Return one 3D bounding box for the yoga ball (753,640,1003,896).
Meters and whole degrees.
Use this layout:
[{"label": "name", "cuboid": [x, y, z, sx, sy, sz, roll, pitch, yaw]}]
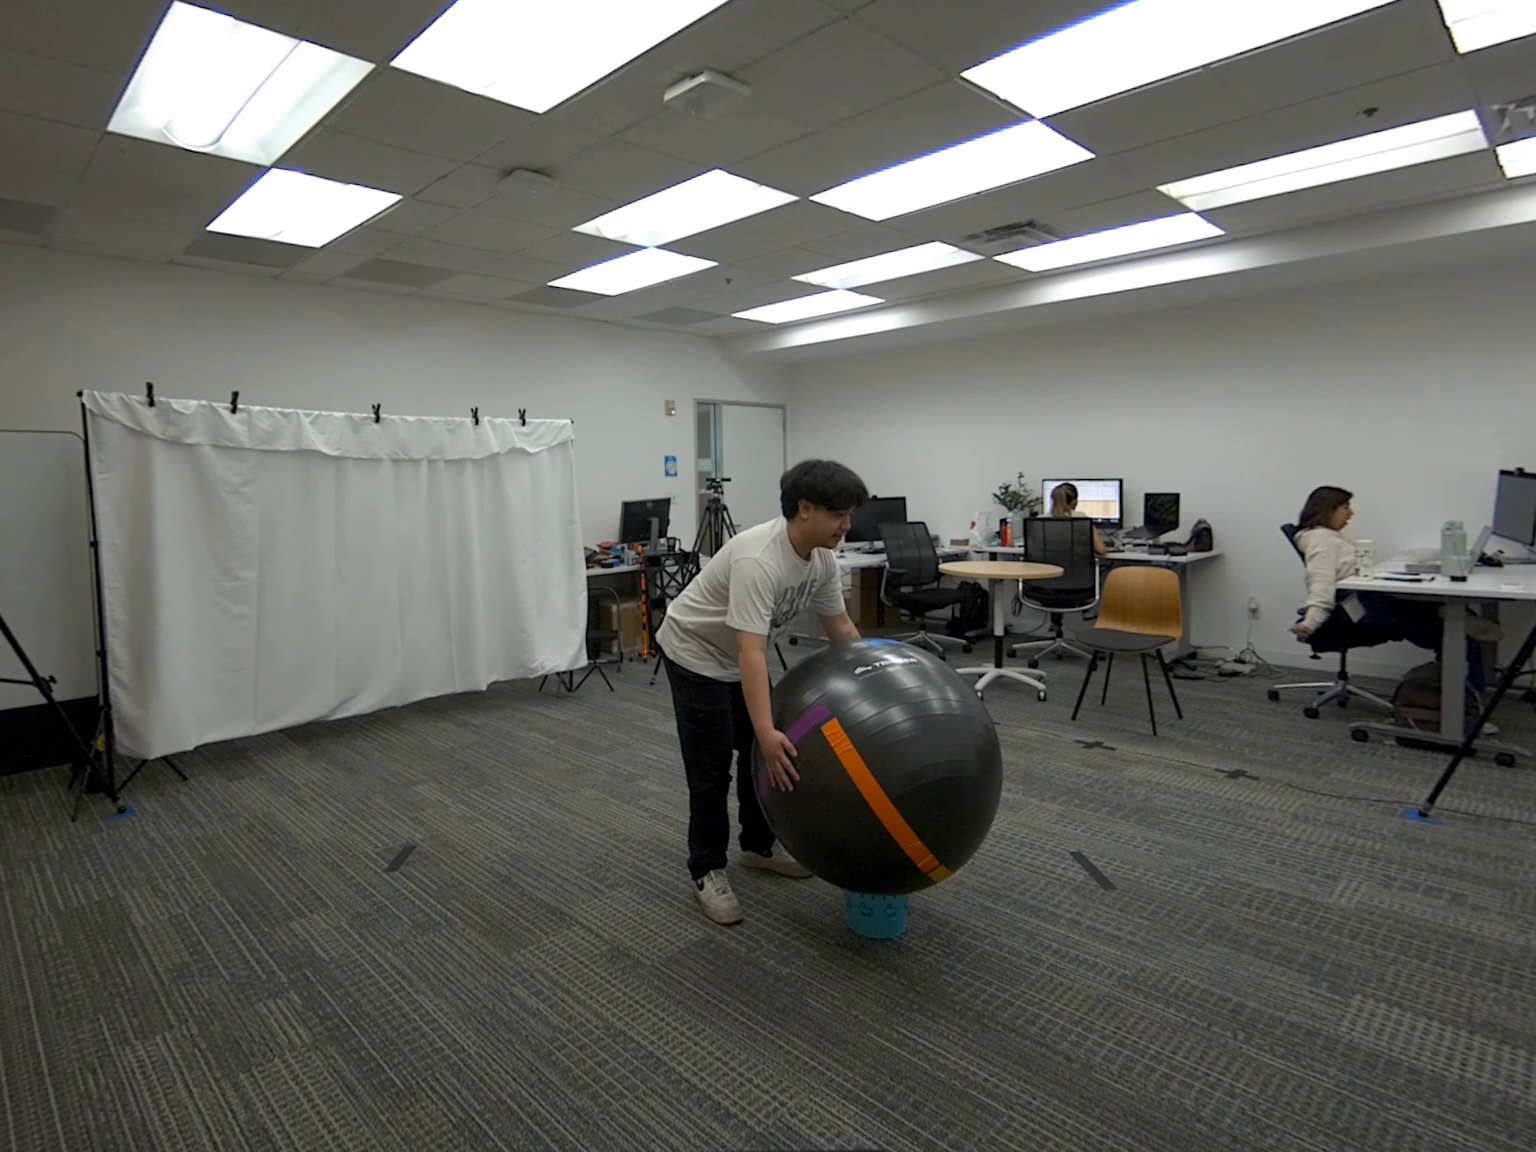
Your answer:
[{"label": "yoga ball", "cuboid": [0.335, 0.581, 2.630, 0.757, 0.755, 0.762, -1, 5, -2]}]
